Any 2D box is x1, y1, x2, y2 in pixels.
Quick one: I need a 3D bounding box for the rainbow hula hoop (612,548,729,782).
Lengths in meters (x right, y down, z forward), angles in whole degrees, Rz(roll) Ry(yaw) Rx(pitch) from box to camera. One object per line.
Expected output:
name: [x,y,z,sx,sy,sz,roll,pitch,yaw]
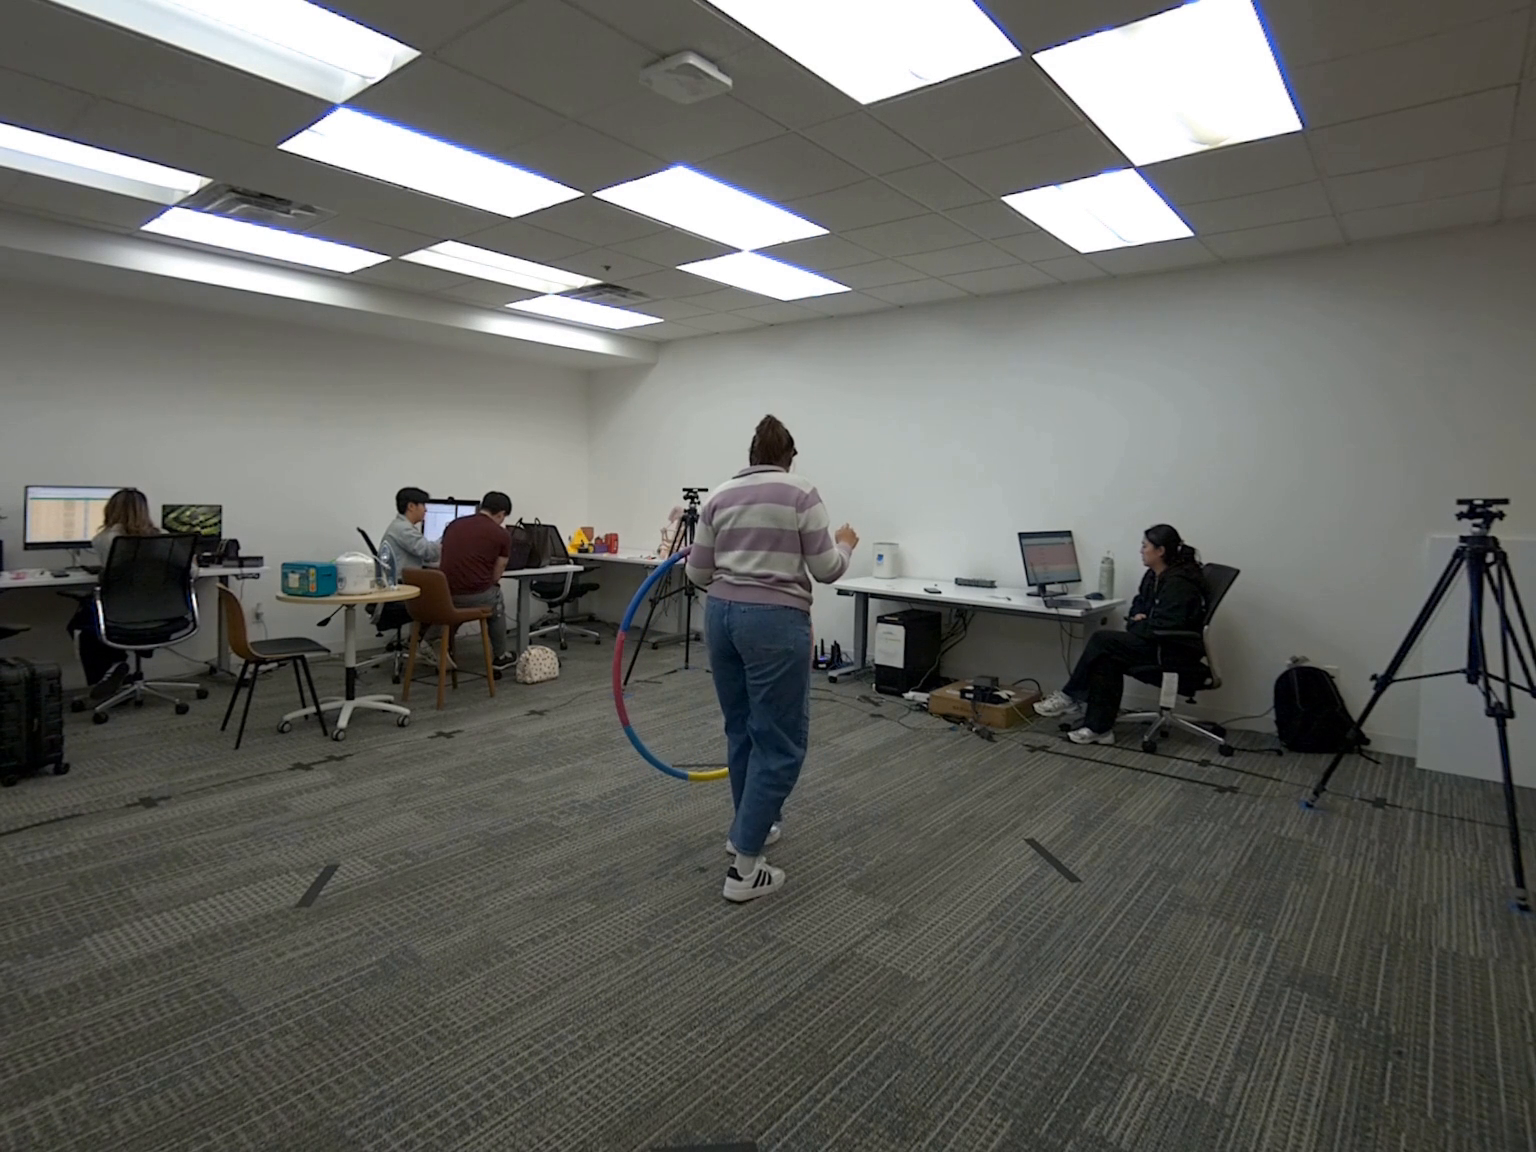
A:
rainbow hula hoop: [-0.203,0.341,3.457,0.957,0.982,0.053,-2,4,-34]
